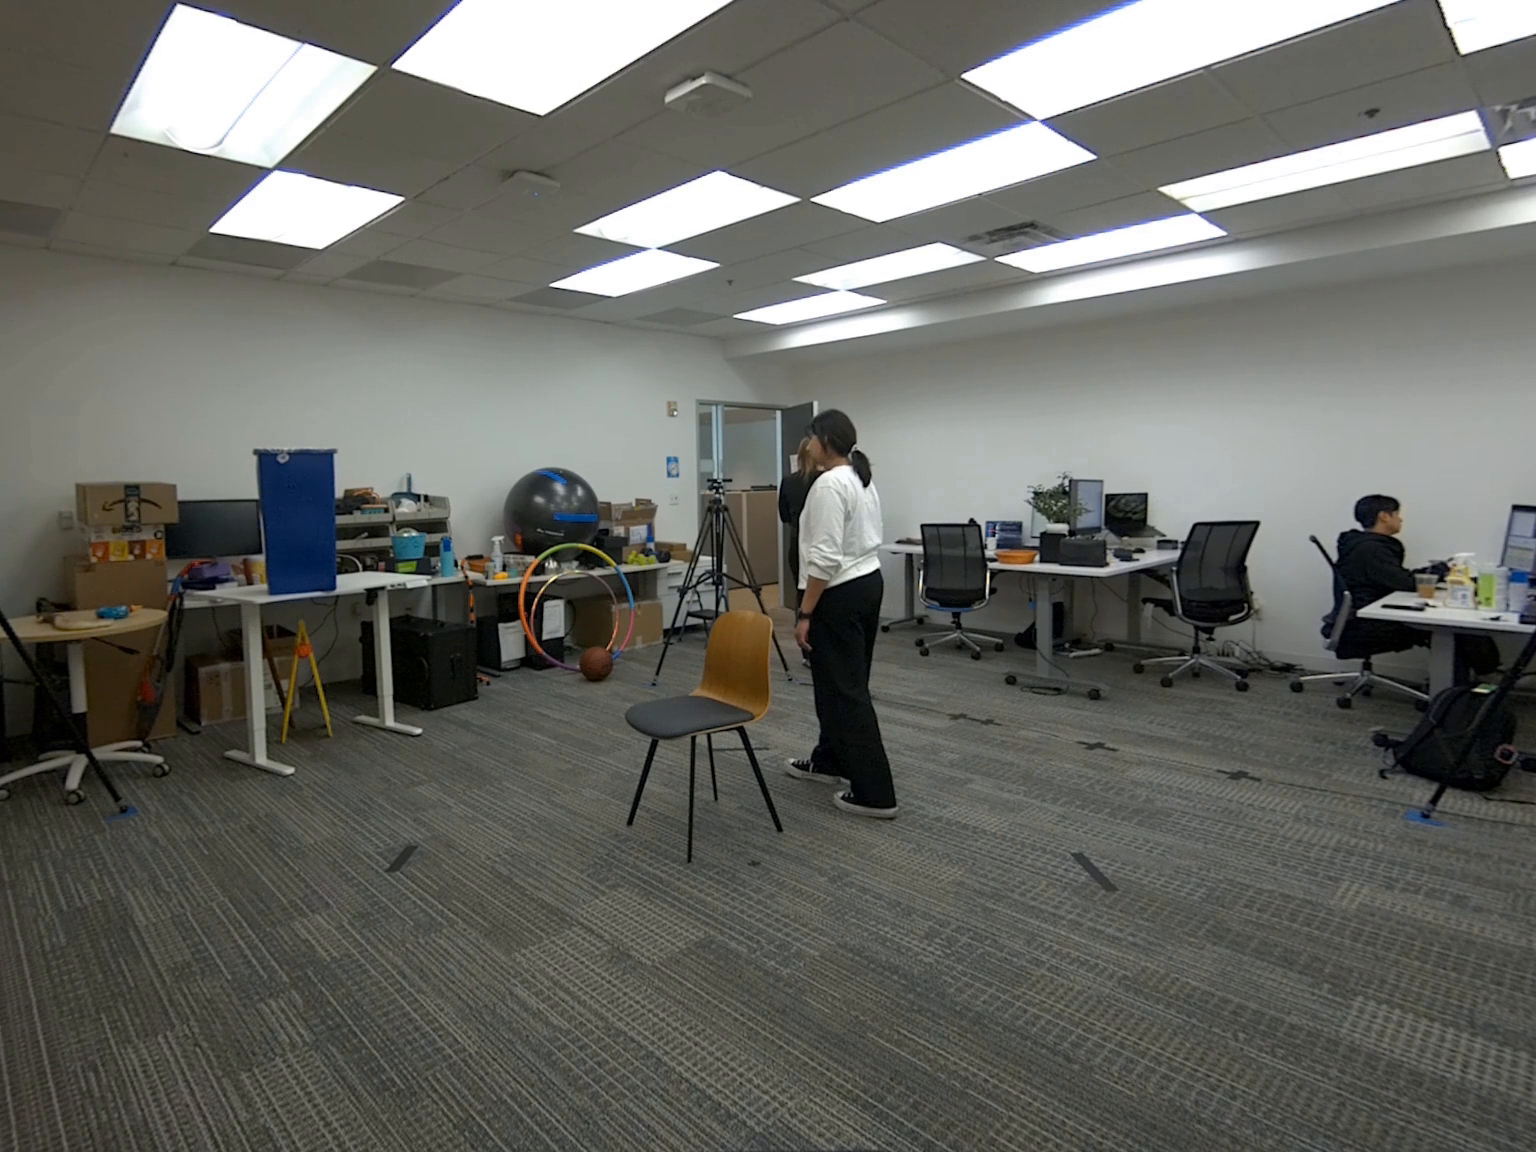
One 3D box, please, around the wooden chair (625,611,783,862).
[{"bbox_3d":[-0.269,0.591,3.390,0.508,0.876,0.492,1,2,-38],"label":"wooden chair"}]
